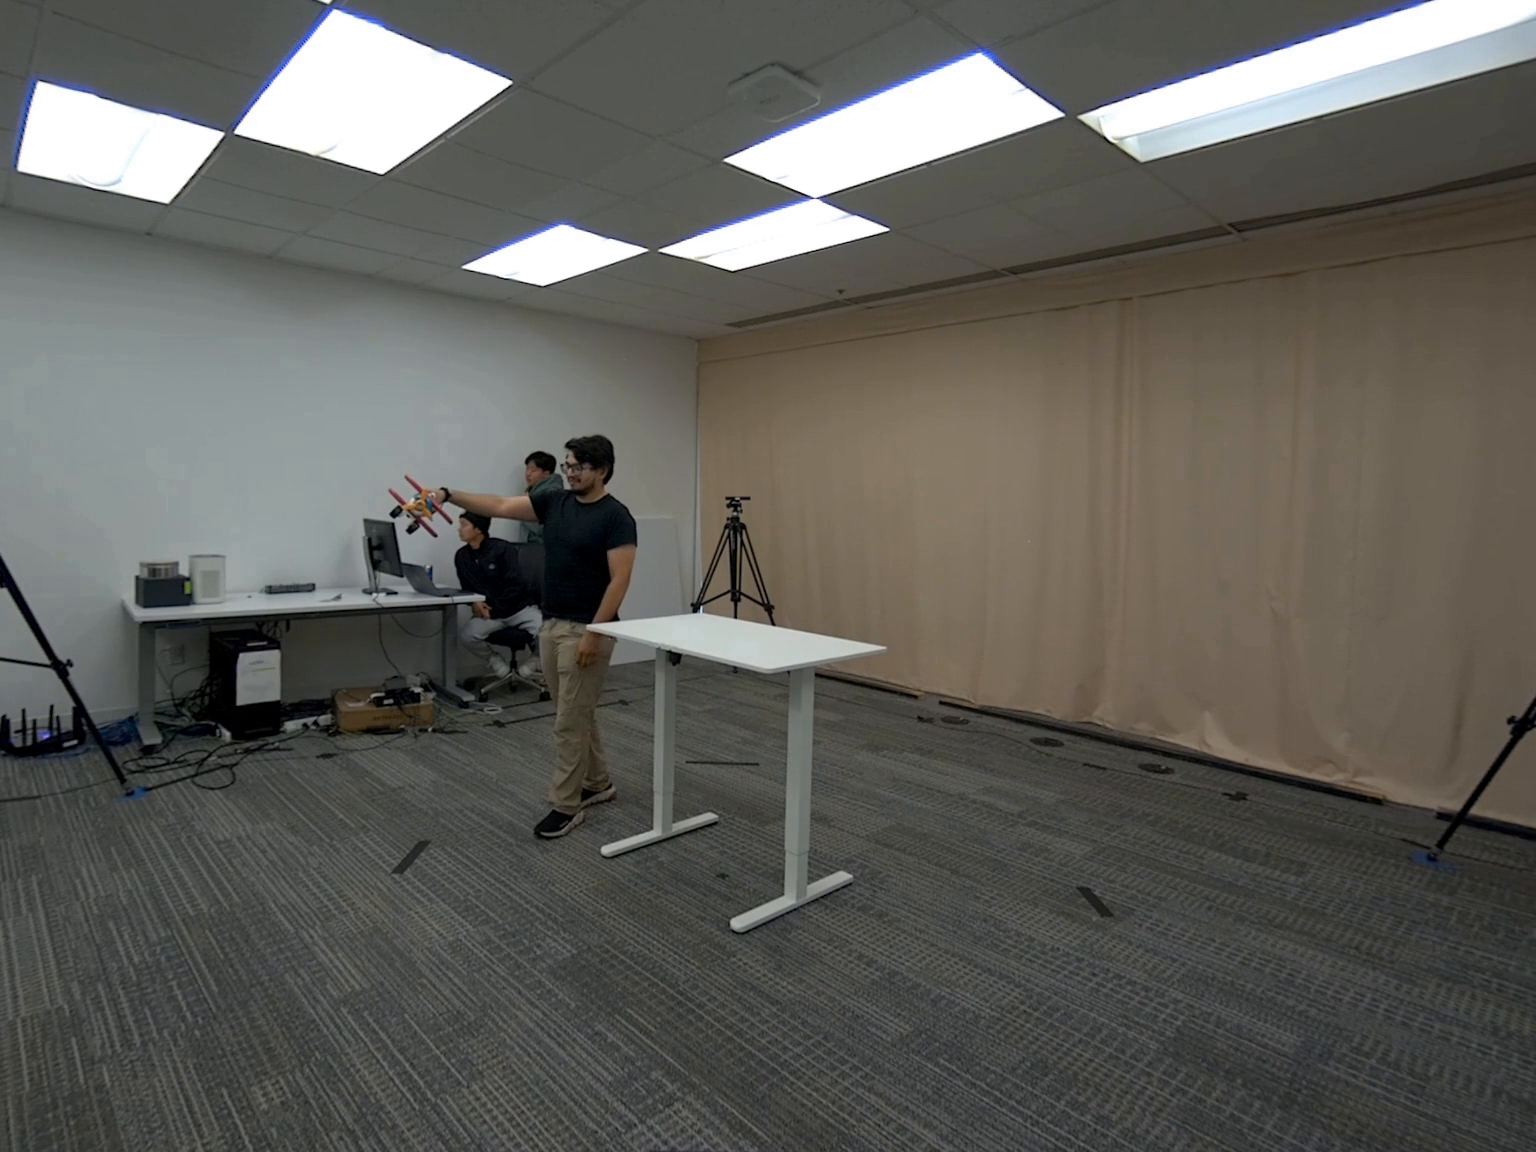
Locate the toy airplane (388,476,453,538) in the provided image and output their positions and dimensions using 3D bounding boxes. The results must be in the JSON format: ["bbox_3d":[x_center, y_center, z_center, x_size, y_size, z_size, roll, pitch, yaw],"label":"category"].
[{"bbox_3d":[-1.419,-0.282,3.326,0.243,0.156,0.267,50,-1,-41],"label":"toy airplane"}]
